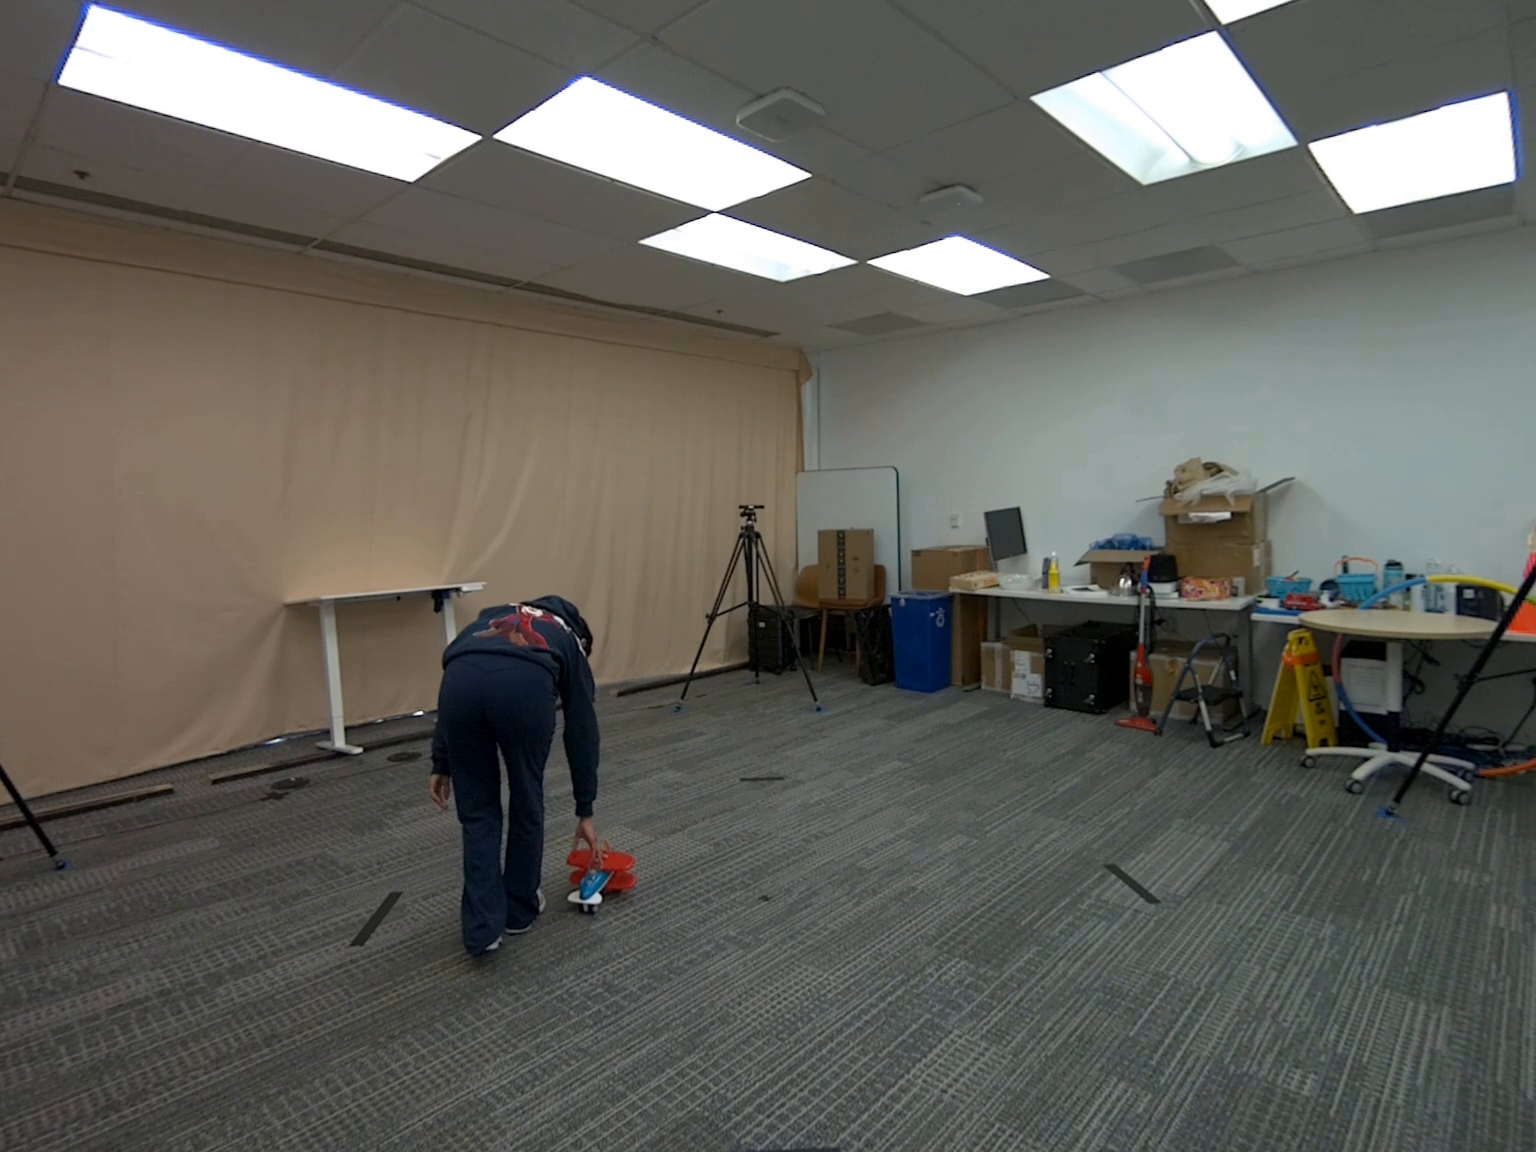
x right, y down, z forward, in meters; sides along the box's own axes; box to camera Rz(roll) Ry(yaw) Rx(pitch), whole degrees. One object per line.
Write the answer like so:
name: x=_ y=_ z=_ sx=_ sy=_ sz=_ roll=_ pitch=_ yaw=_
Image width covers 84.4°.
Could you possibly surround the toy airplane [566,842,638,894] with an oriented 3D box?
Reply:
toy airplane: x=-0.583 y=1.084 z=2.984 sx=0.247 sy=0.156 sz=0.264 roll=-2 pitch=5 yaw=-14
